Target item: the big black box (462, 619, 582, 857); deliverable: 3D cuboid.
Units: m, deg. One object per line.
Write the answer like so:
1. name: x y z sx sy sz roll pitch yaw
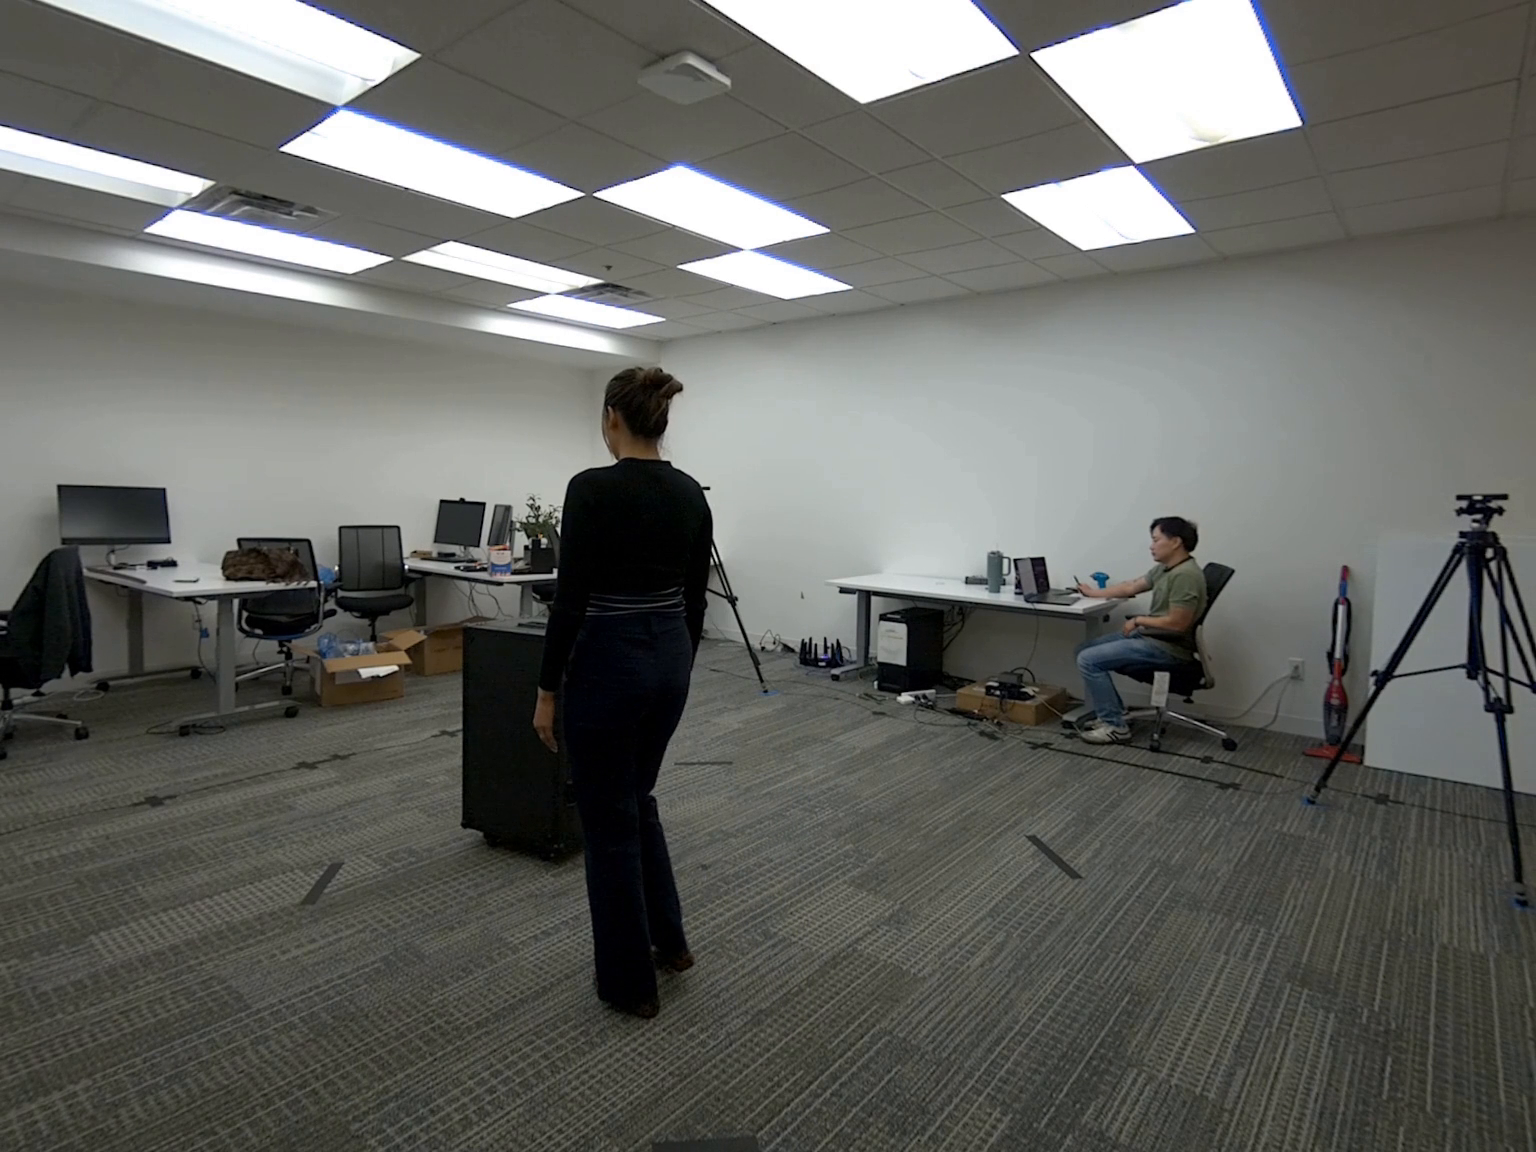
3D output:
1. big black box: -0.903 0.616 3.316 0.535 0.860 0.386 2 2 27
